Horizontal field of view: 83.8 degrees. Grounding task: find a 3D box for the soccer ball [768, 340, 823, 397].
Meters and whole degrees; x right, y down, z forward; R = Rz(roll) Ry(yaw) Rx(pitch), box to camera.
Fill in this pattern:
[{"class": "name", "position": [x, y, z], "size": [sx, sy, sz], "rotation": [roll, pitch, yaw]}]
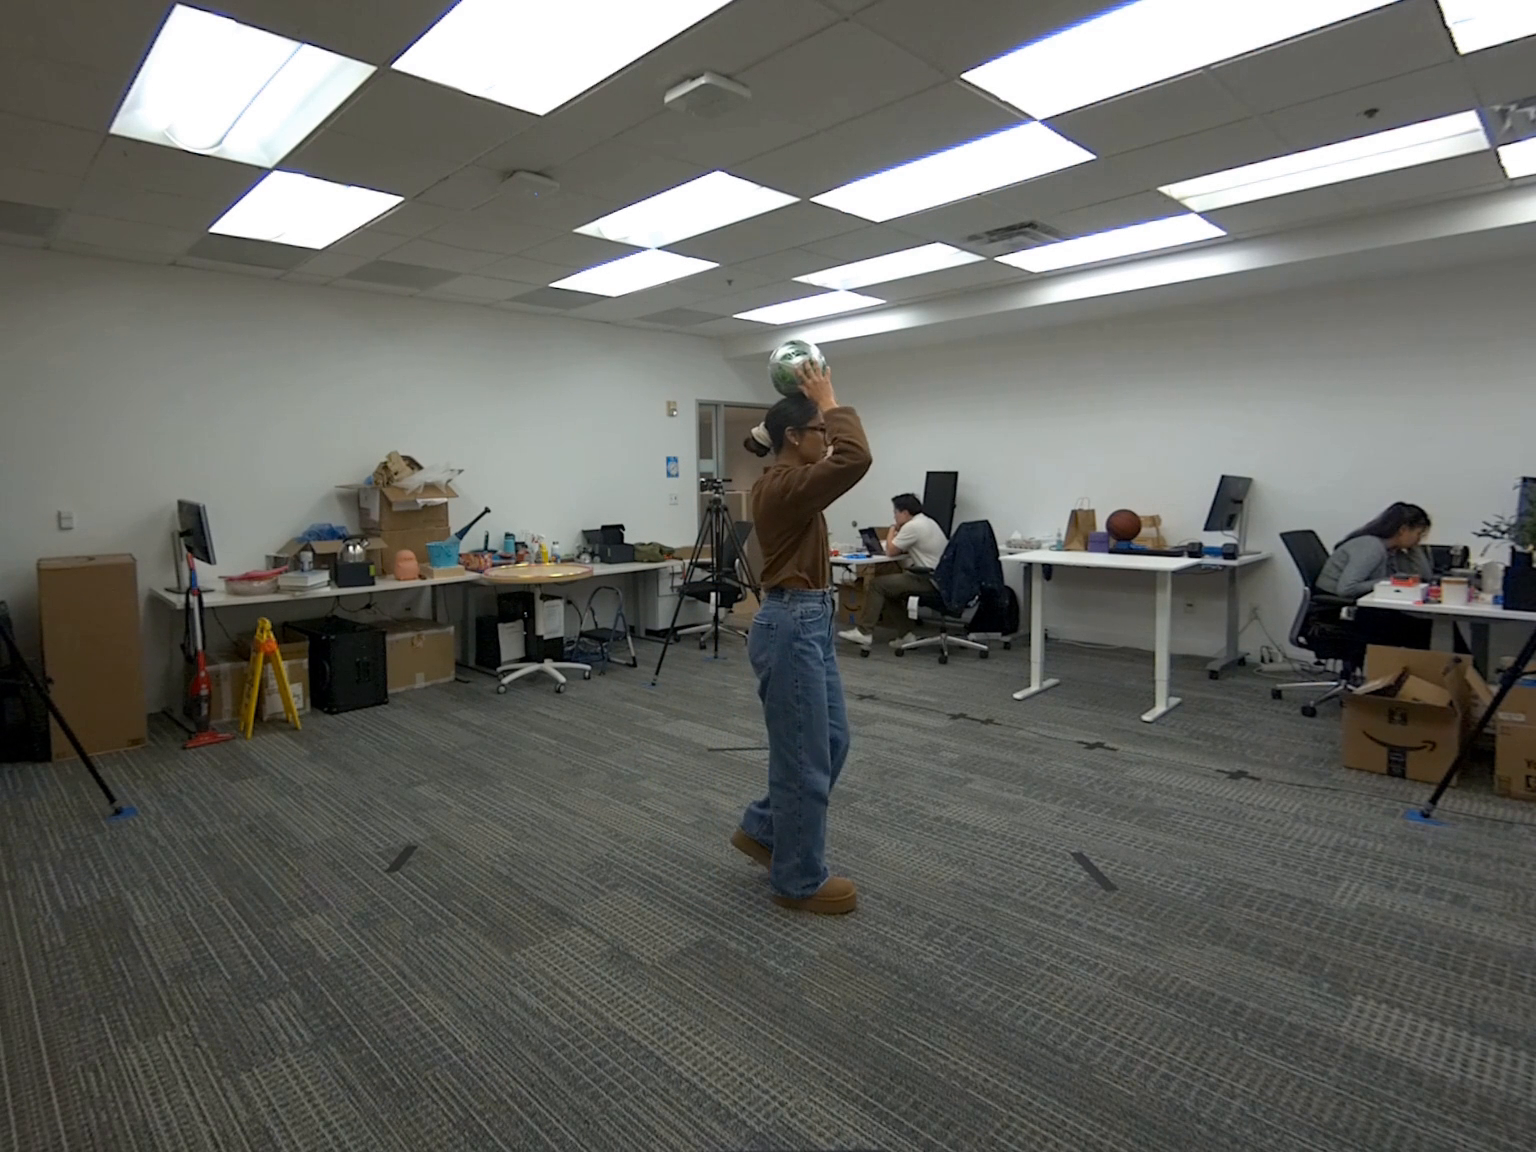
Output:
[{"class": "soccer ball", "position": [0.099, -0.667, 2.757], "size": [0.187, 0.187, 0.188], "rotation": [-1, 5, -2]}]
